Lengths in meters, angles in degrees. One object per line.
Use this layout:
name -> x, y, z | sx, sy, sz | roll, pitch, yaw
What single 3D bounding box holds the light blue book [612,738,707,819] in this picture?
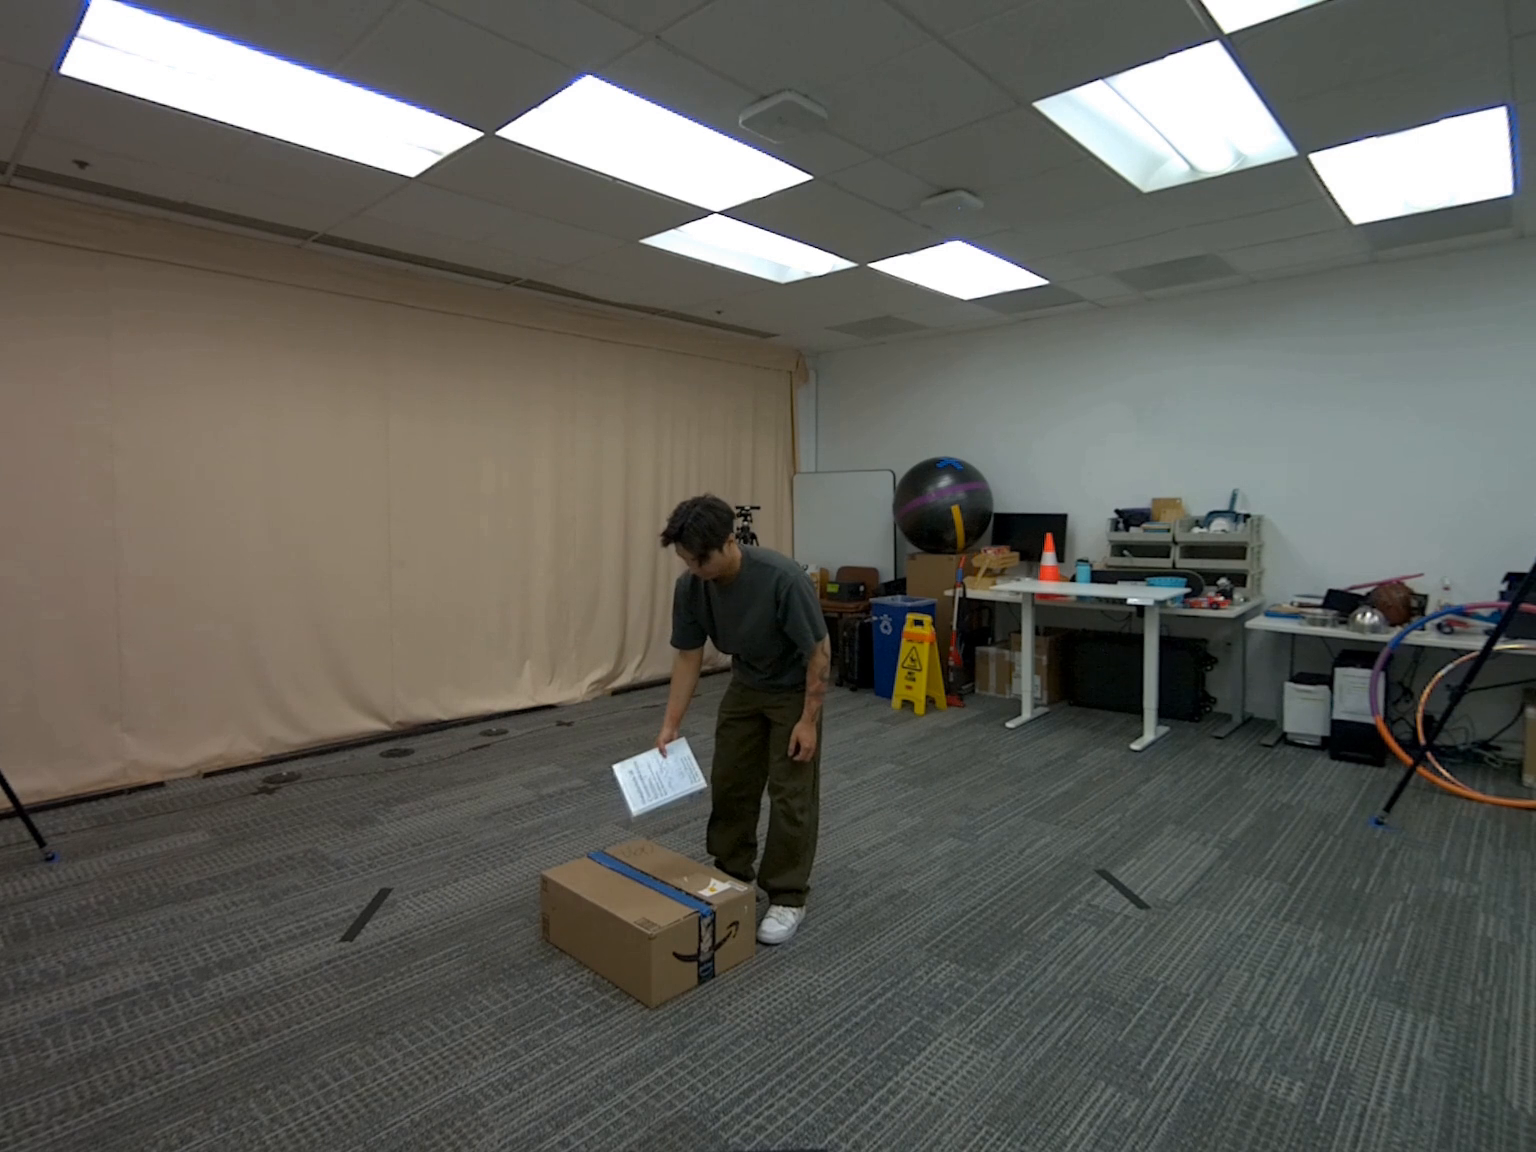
light blue book -> -0.358, 0.674, 2.773 | 0.257, 0.197, 0.058 | -16, -33, -17
